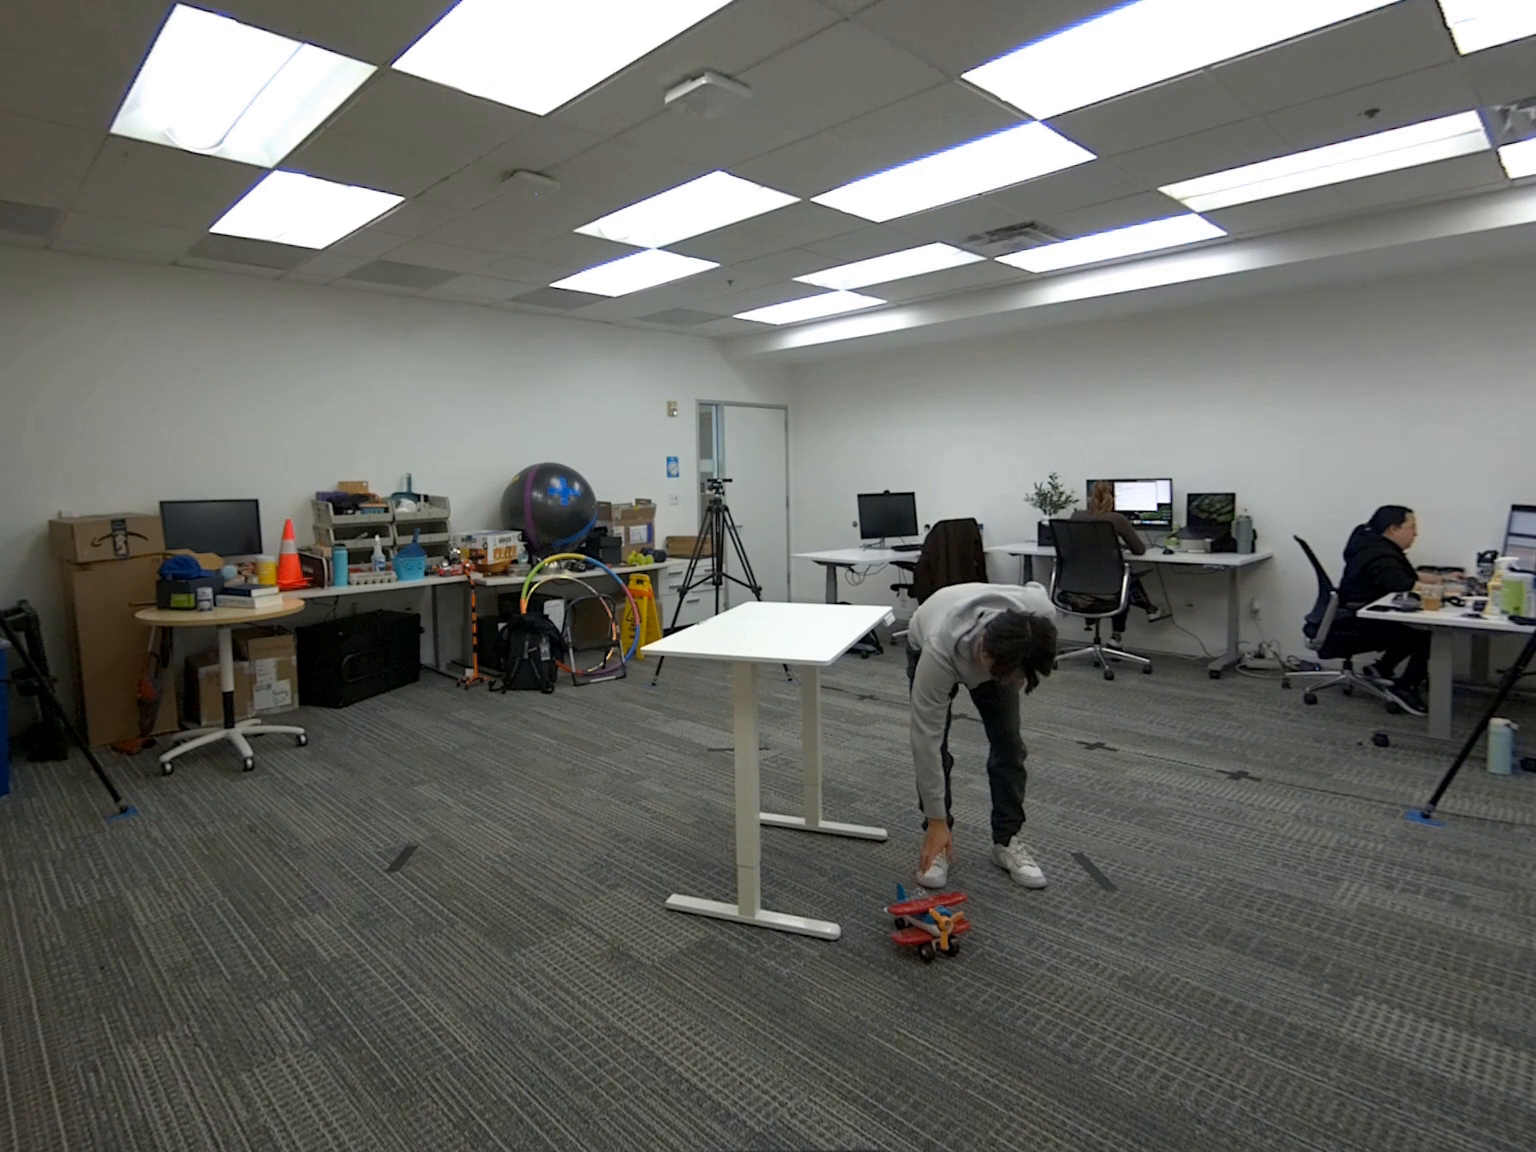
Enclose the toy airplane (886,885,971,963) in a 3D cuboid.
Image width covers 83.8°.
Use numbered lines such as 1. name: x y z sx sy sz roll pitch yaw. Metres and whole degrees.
1. toy airplane: 0.449 1.027 2.538 0.267 0.156 0.244 5 8 39
